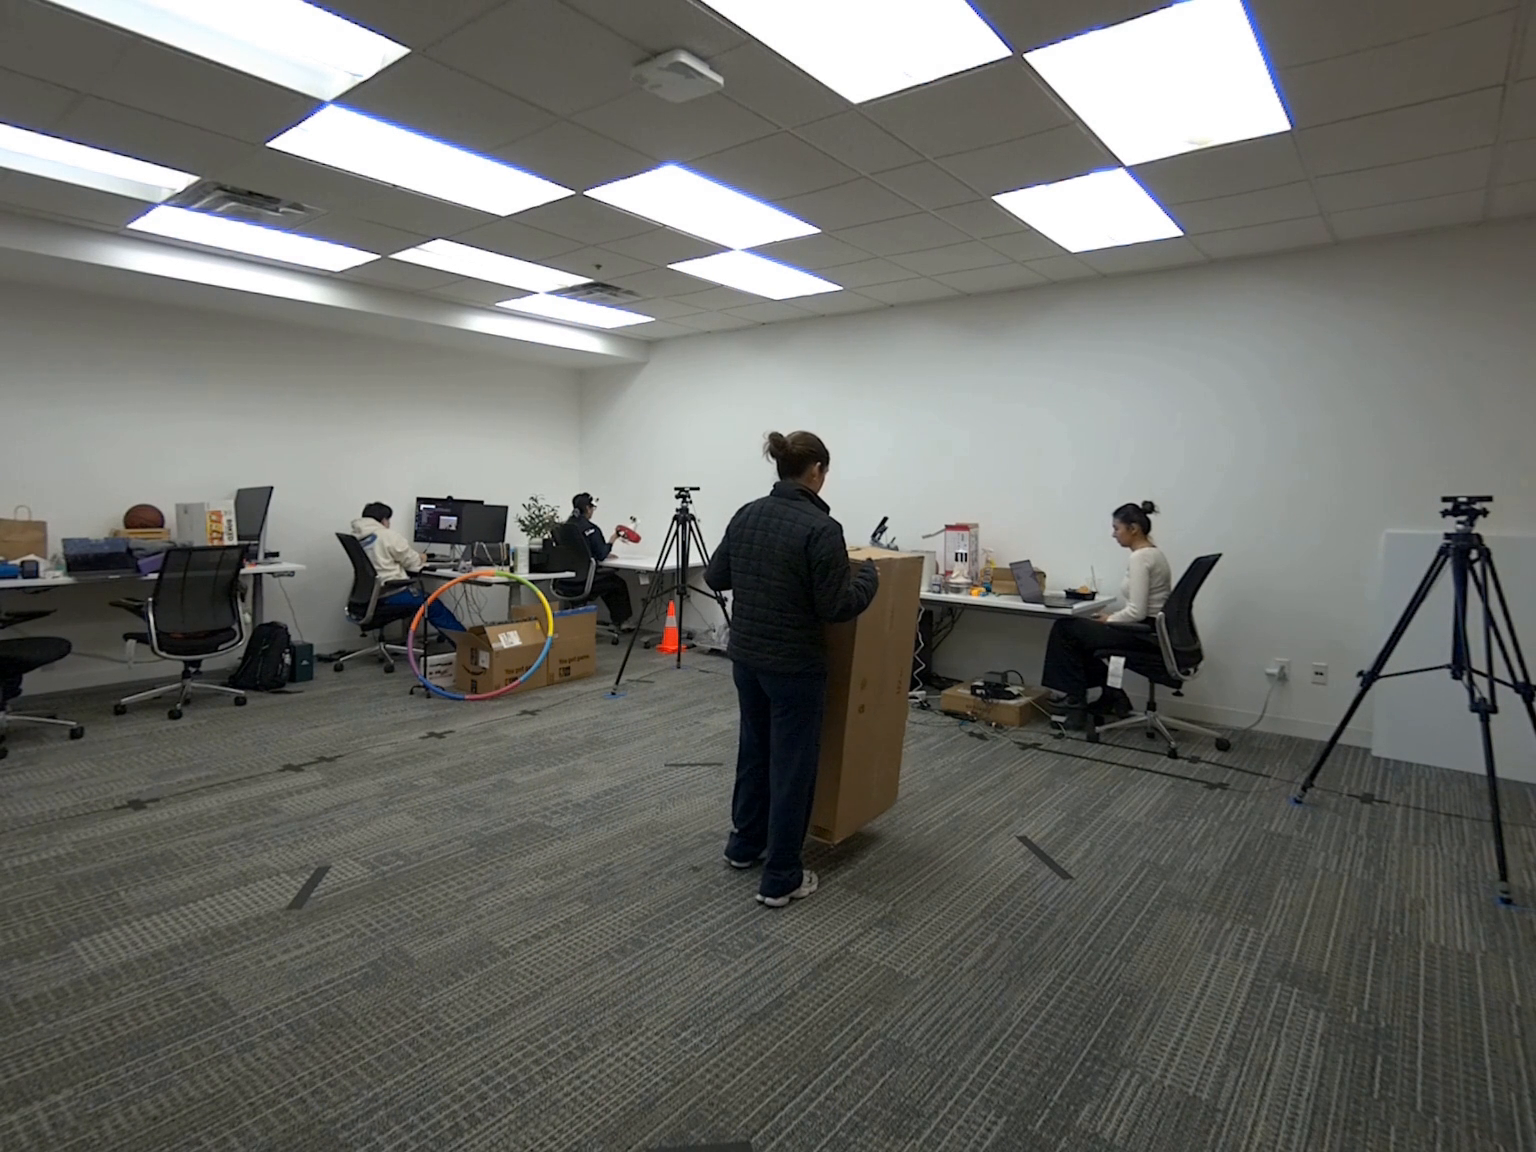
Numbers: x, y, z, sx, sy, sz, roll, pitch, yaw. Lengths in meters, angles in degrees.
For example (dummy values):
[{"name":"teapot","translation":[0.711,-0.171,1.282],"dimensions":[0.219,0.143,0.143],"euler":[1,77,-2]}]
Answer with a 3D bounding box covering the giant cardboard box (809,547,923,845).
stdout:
[{"name":"giant cardboard box","translation":[0.271,0.409,3.327],"dimensions":[0.441,1.022,0.561],"euler":[8,6,34]}]
